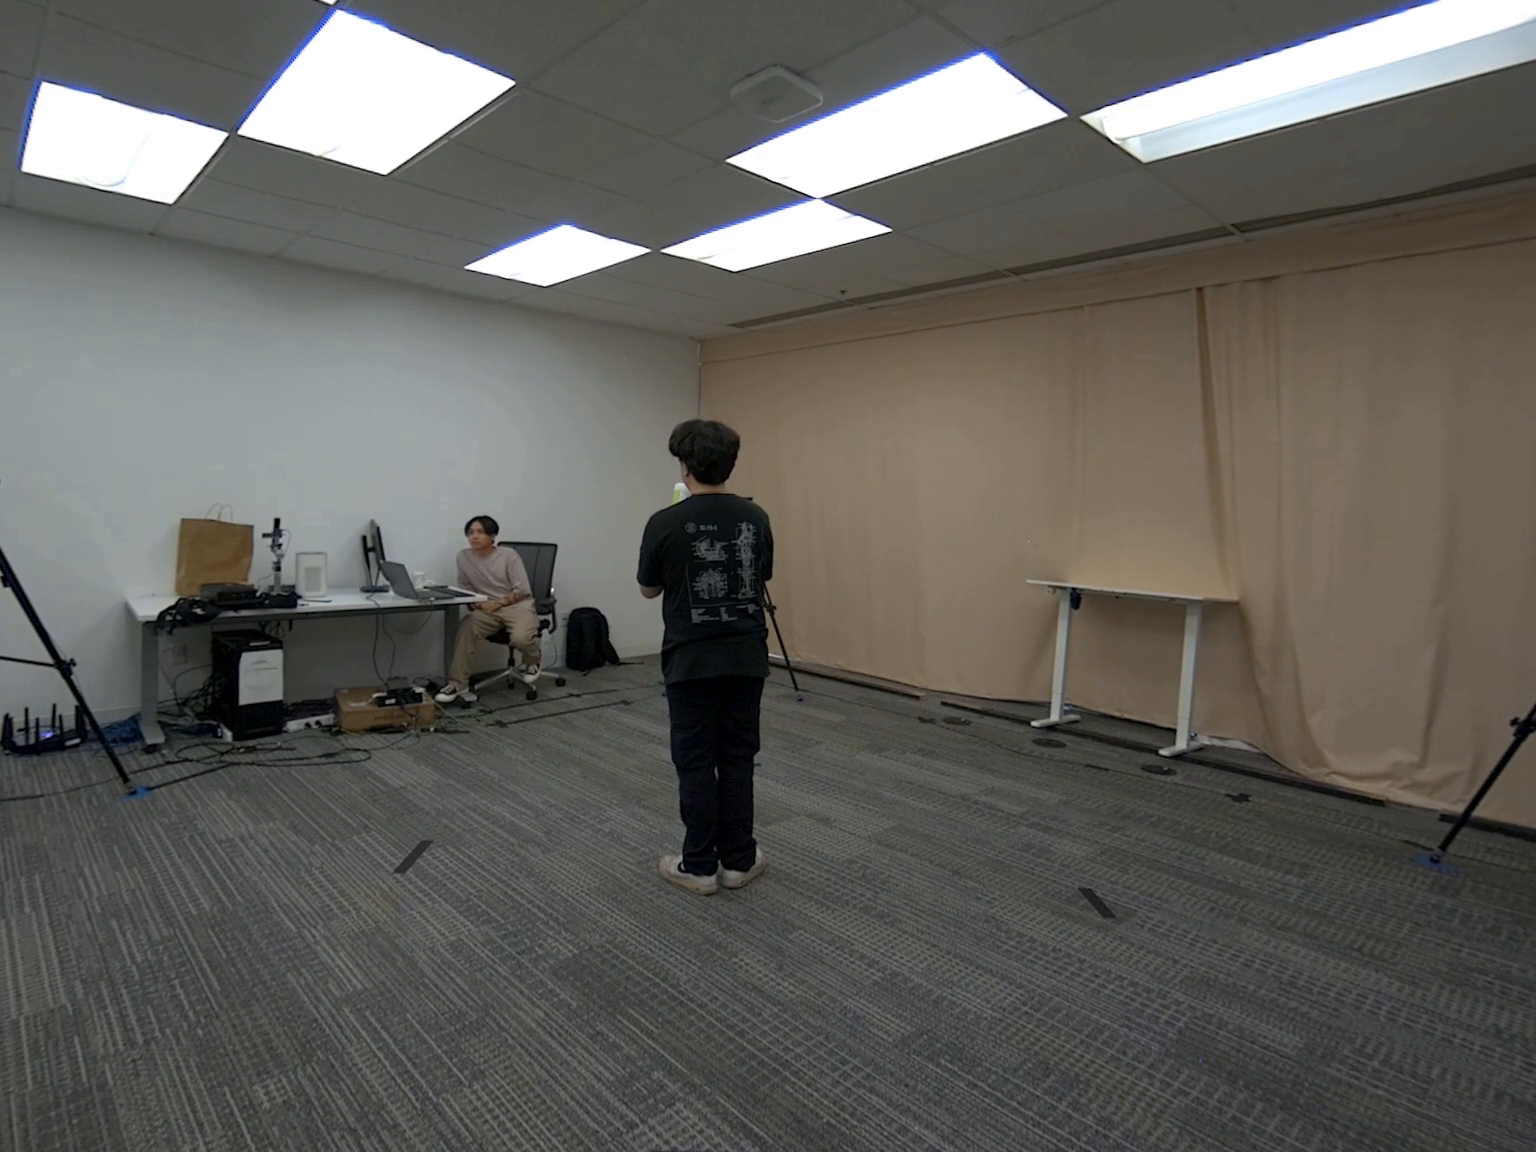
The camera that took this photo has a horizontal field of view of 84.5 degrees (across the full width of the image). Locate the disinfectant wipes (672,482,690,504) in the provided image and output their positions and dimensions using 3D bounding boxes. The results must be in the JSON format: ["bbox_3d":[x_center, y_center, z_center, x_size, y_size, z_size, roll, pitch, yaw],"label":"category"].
[{"bbox_3d":[-0.319,-0.249,3.332,0.118,0.218,0.117,2,-5,-1],"label":"disinfectant wipes"}]
